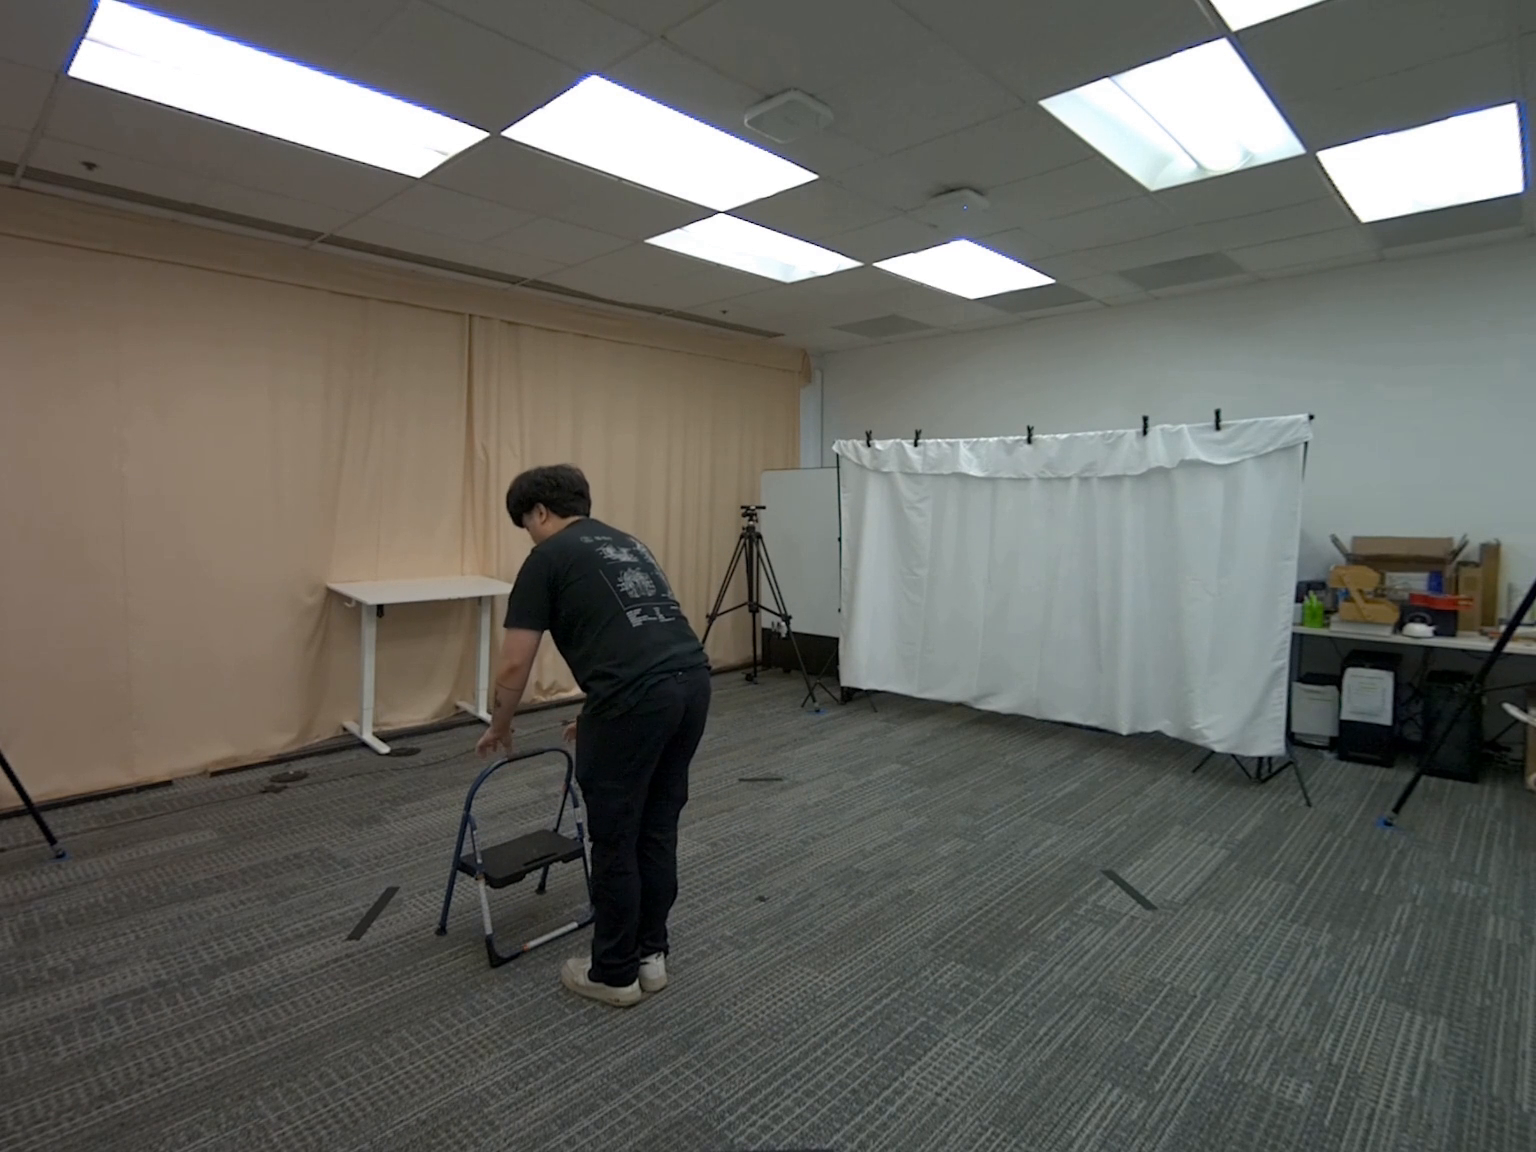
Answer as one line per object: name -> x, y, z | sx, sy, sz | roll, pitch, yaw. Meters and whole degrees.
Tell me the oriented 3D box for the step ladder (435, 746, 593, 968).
step ladder -> -0.833, 0.865, 2.787 | 0.361, 0.605, 0.418 | 1, 4, 40
